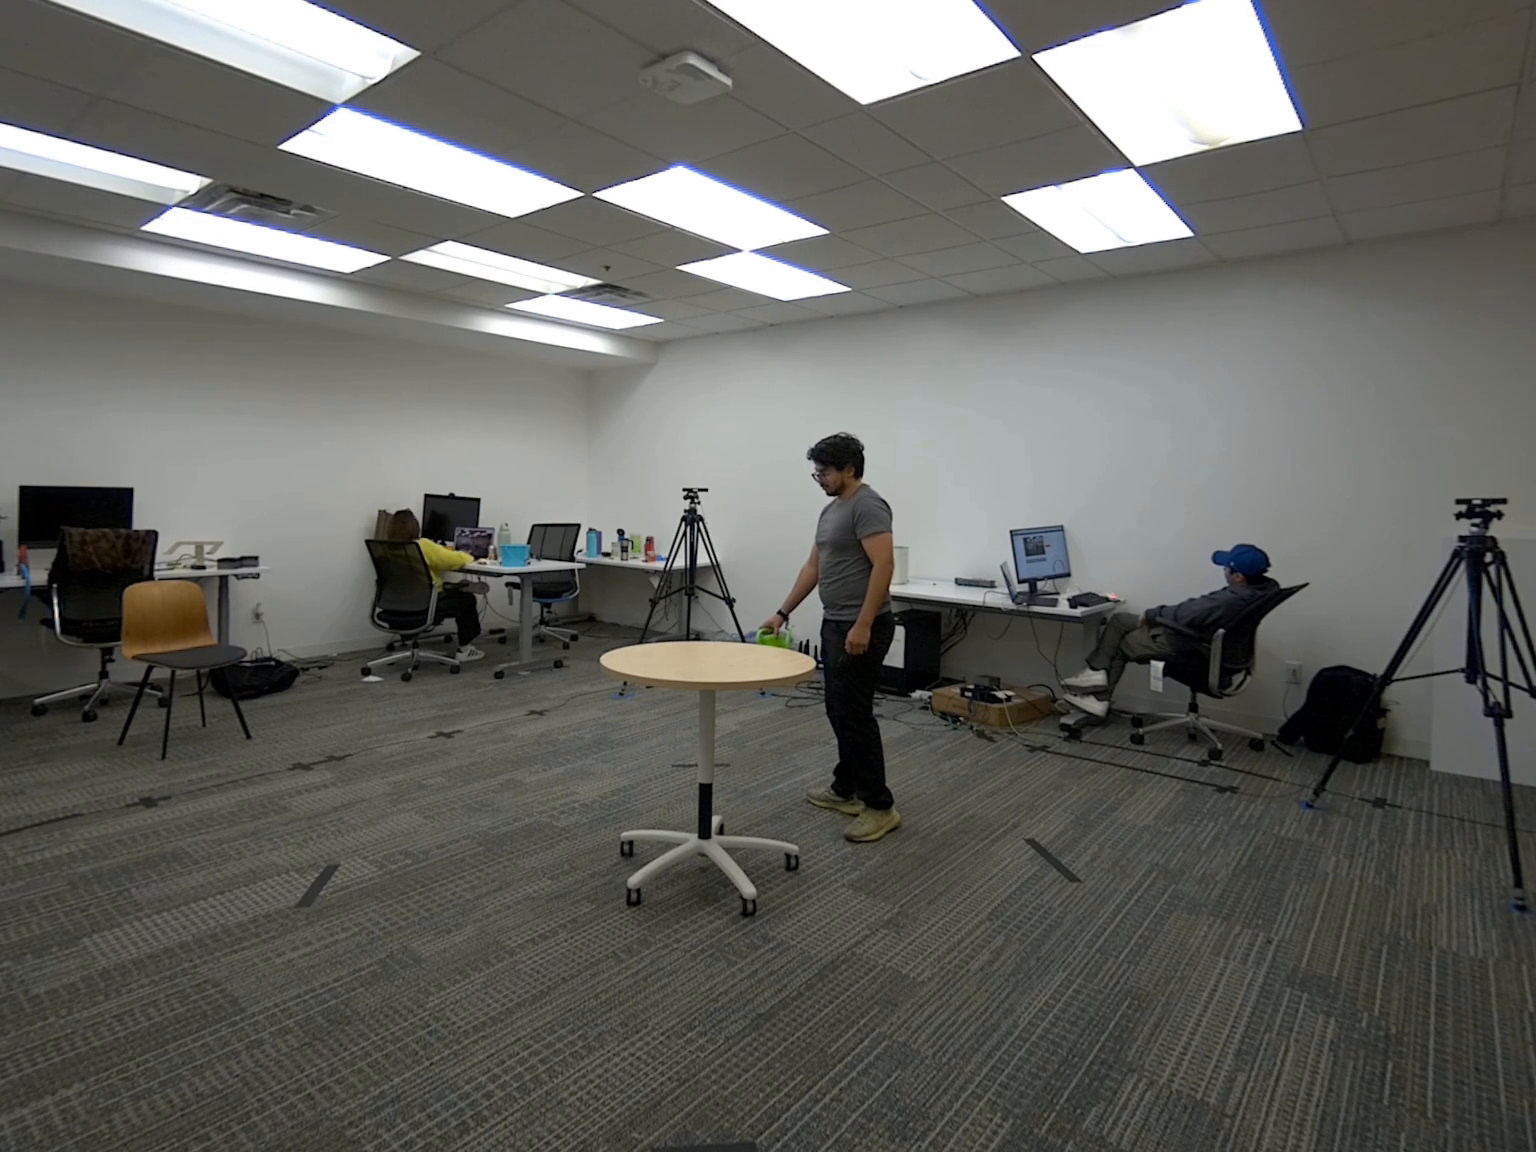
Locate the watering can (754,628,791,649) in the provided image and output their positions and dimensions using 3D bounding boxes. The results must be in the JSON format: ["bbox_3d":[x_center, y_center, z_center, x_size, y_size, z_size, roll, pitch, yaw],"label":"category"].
[{"bbox_3d":[0.059,0.309,3.899,0.271,0.179,0.099,-7,-13,-33],"label":"watering can"}]
